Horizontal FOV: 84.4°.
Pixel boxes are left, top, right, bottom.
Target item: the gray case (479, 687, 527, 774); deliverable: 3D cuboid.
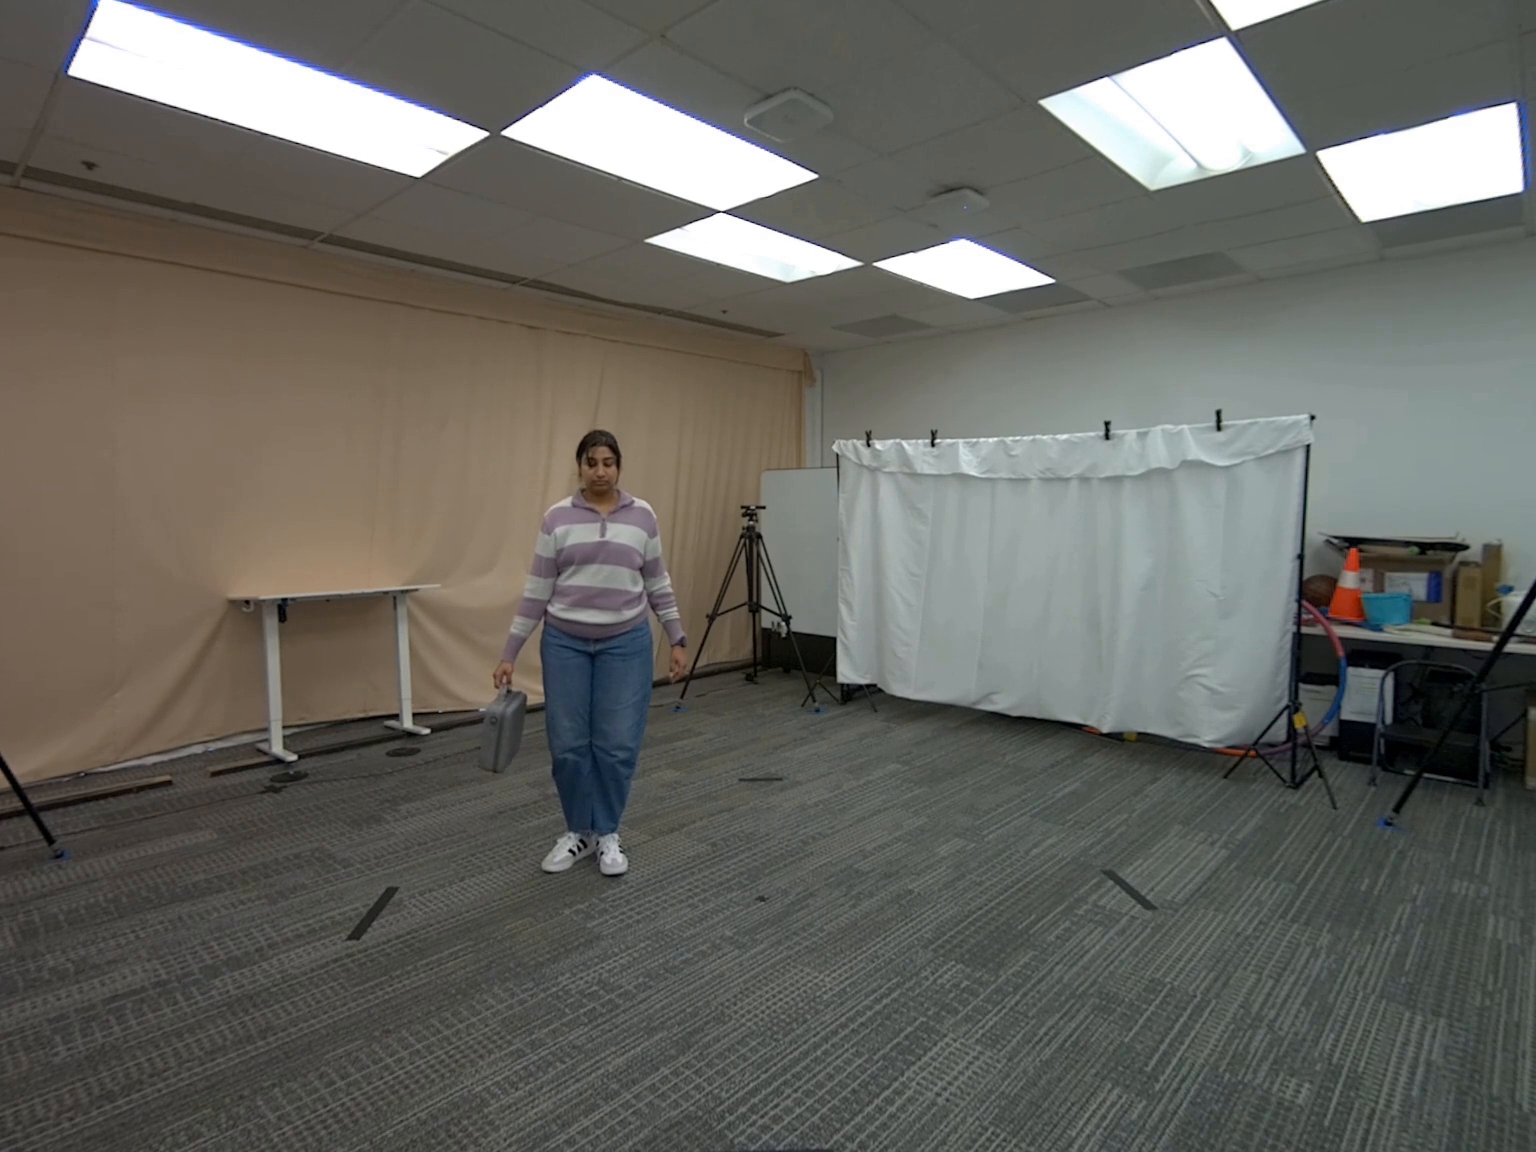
[{"bbox_3d":[-0.995,0.580,3.179,0.104,0.260,0.258,9,7,-4],"label":"gray case"}]
